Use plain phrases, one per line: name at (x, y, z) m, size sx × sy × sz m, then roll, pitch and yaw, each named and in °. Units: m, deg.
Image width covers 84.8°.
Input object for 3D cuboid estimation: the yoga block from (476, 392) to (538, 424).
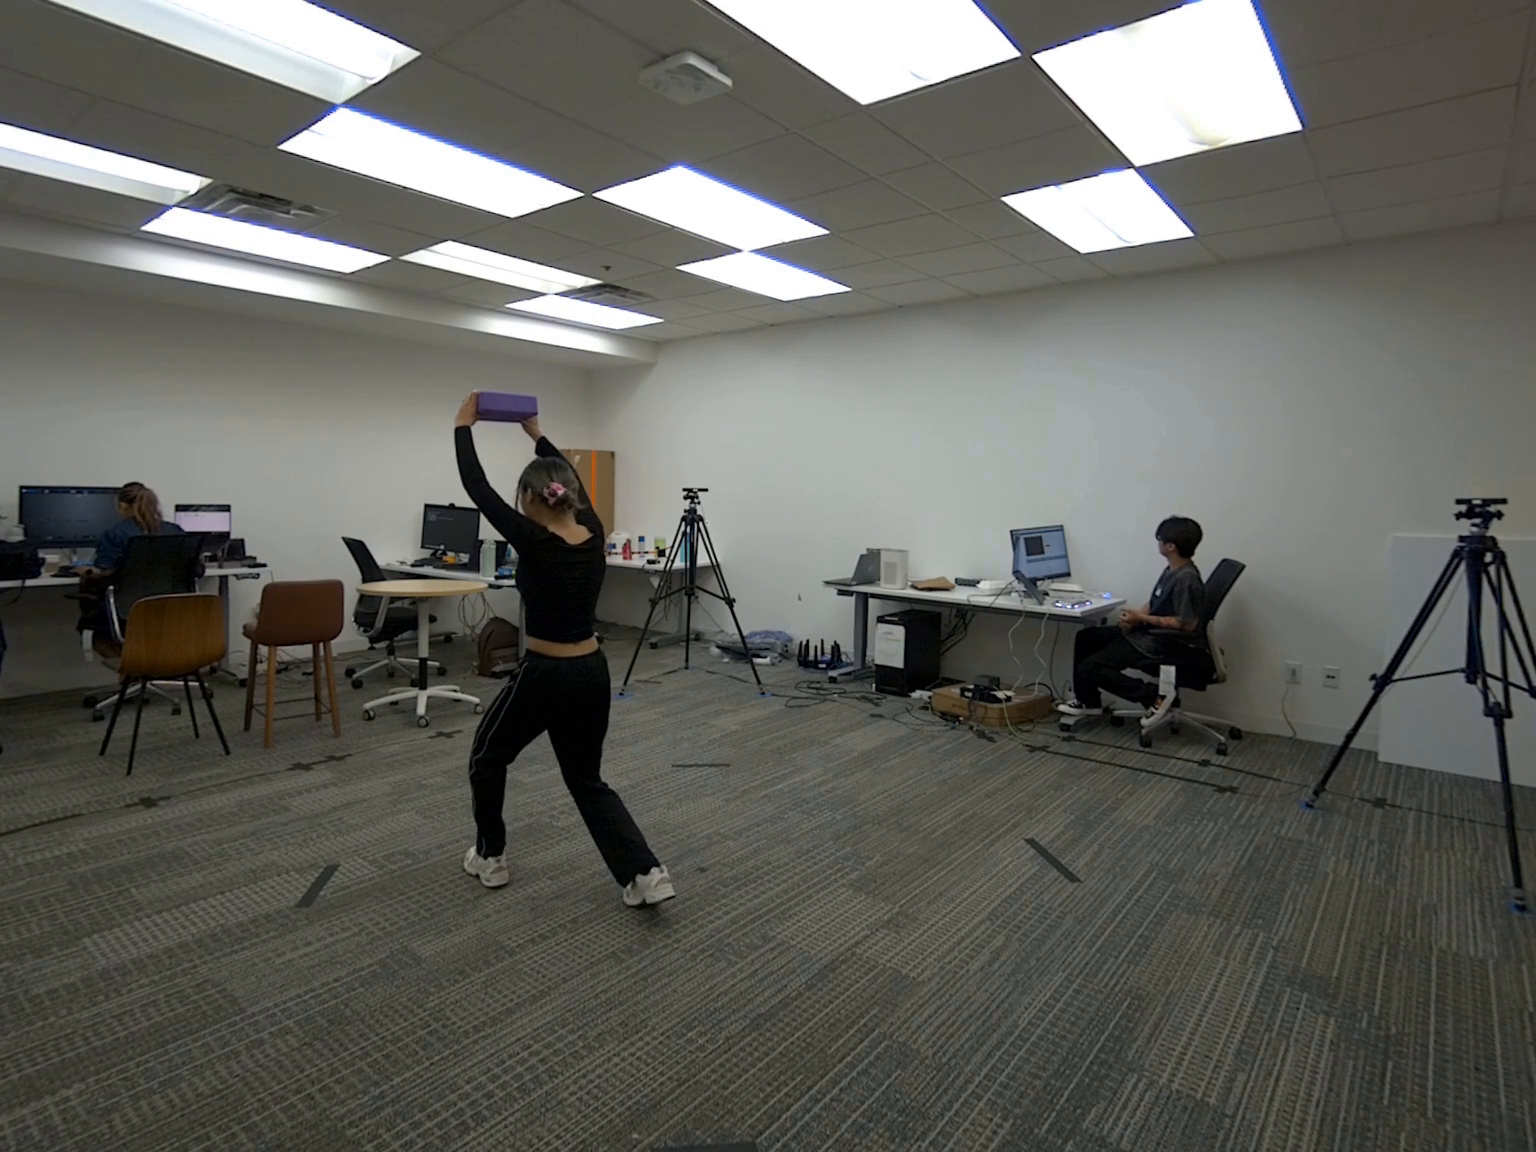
yoga block at (-0.979, -0.610, 3.072) m, size 0.153 × 0.076 × 0.223 m, roll -6°, pitch 0°, yaw 43°
